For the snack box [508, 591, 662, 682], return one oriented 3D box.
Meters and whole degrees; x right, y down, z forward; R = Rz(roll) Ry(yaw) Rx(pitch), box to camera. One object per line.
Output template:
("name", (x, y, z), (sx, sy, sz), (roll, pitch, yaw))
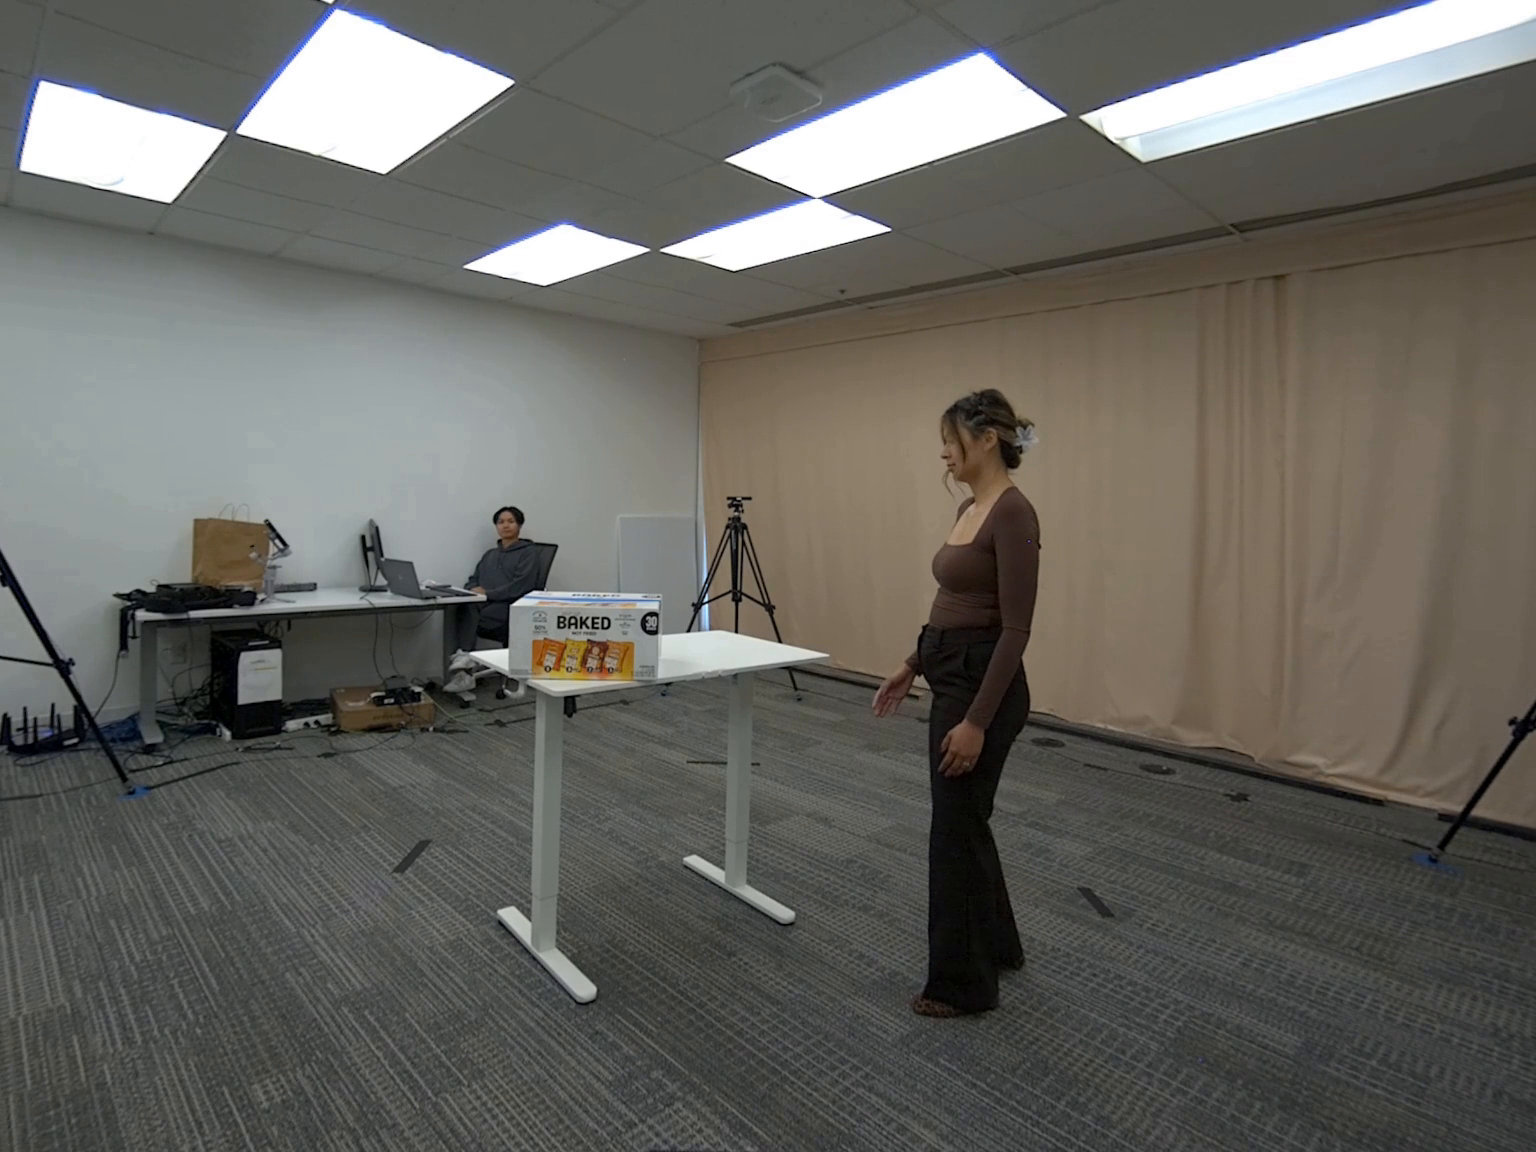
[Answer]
("snack box", (-0.523, 0.172, 2.456), (0.404, 0.205, 0.342), (1, 5, -4))
